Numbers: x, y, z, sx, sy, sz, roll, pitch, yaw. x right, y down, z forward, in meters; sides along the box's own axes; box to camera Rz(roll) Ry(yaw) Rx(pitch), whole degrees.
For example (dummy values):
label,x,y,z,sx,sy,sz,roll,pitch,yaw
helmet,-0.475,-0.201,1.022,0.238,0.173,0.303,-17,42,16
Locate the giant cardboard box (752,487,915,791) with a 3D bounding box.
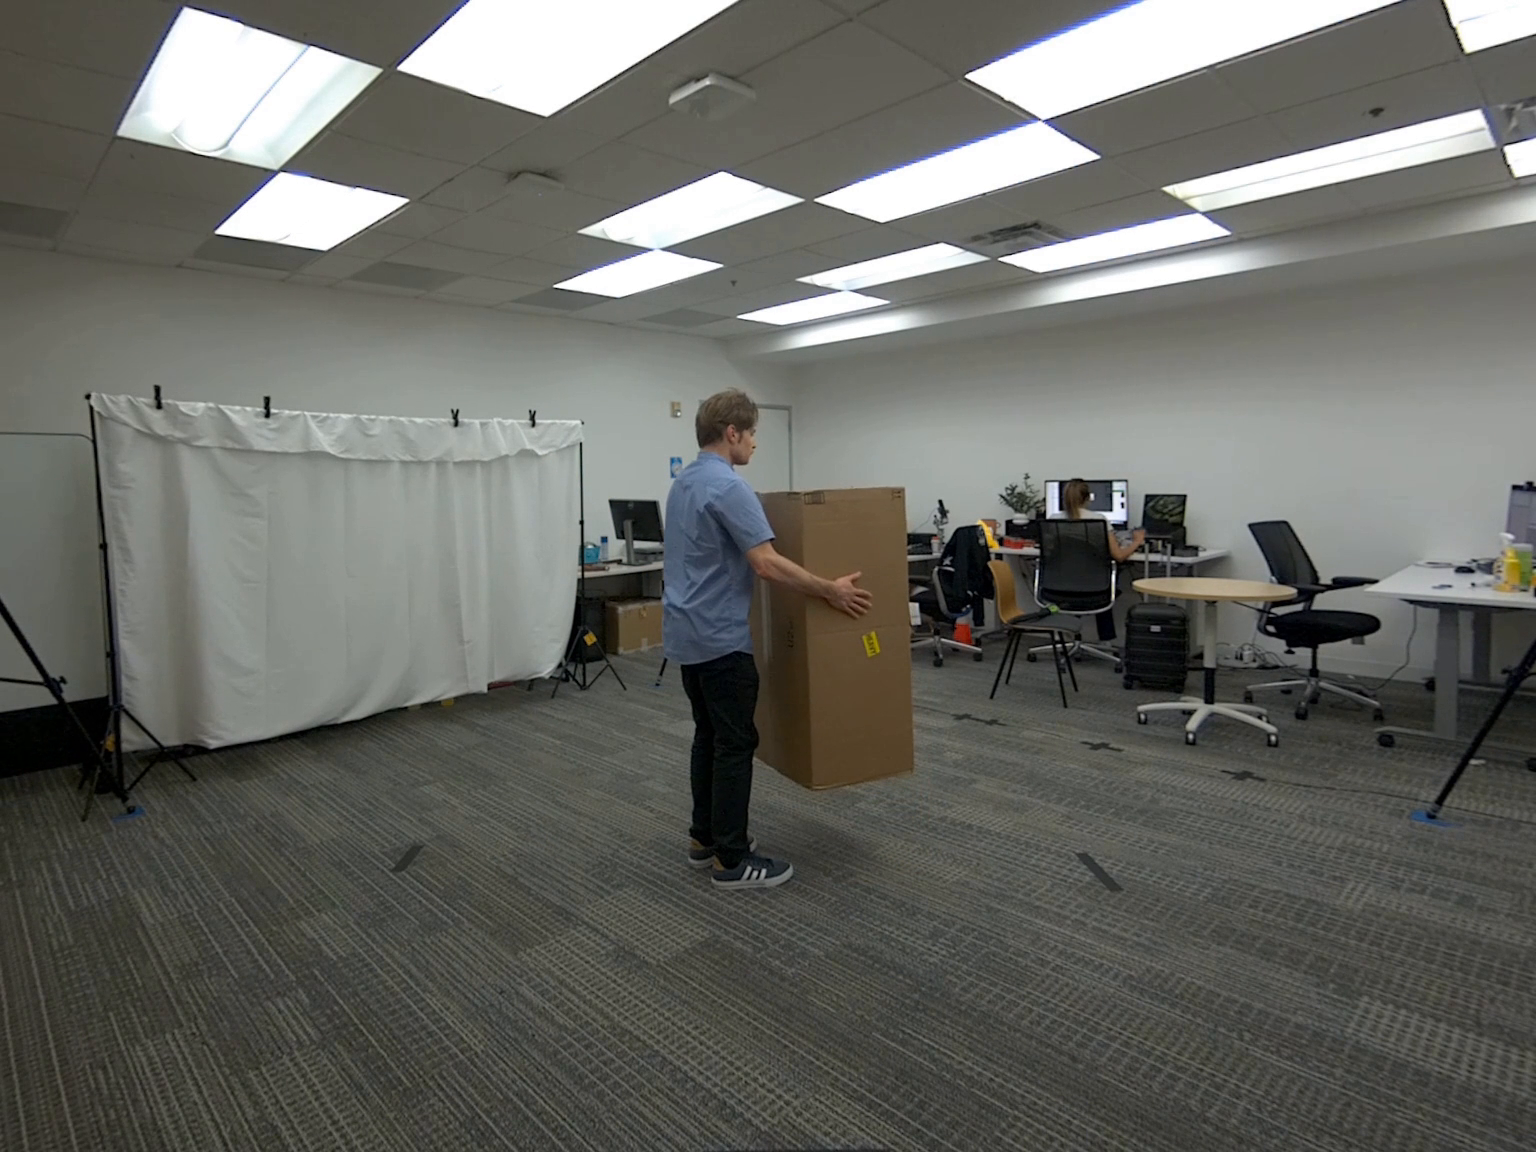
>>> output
label,x,y,z,sx,sy,sz,roll,pitch,yaw
giant cardboard box,0.196,0.189,3.221,0.418,1.023,0.591,-3,3,-24
